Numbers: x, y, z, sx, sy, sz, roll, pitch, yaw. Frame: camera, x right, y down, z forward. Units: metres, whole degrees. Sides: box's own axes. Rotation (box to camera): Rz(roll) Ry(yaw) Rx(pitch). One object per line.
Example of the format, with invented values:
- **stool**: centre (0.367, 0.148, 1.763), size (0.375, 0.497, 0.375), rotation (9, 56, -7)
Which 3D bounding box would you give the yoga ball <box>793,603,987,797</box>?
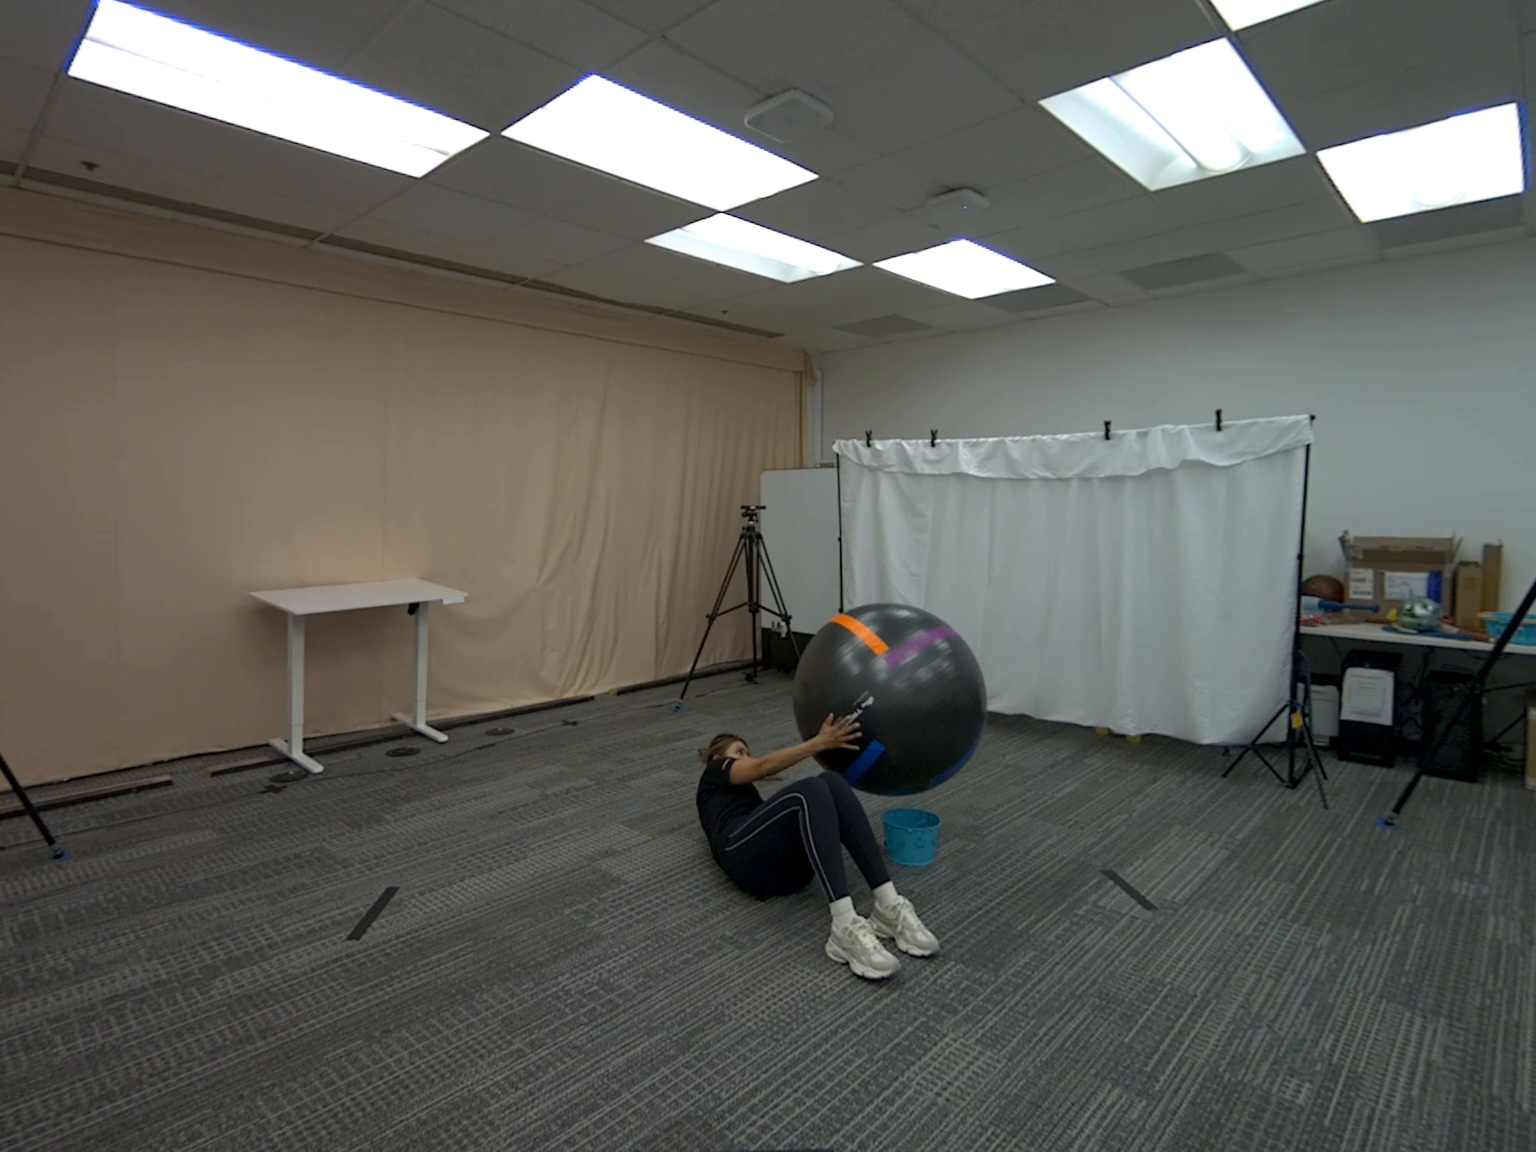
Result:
- **yoga ball**: centre (0.474, 0.487, 3.359), size (0.757, 0.756, 0.761), rotation (3, 5, -2)
